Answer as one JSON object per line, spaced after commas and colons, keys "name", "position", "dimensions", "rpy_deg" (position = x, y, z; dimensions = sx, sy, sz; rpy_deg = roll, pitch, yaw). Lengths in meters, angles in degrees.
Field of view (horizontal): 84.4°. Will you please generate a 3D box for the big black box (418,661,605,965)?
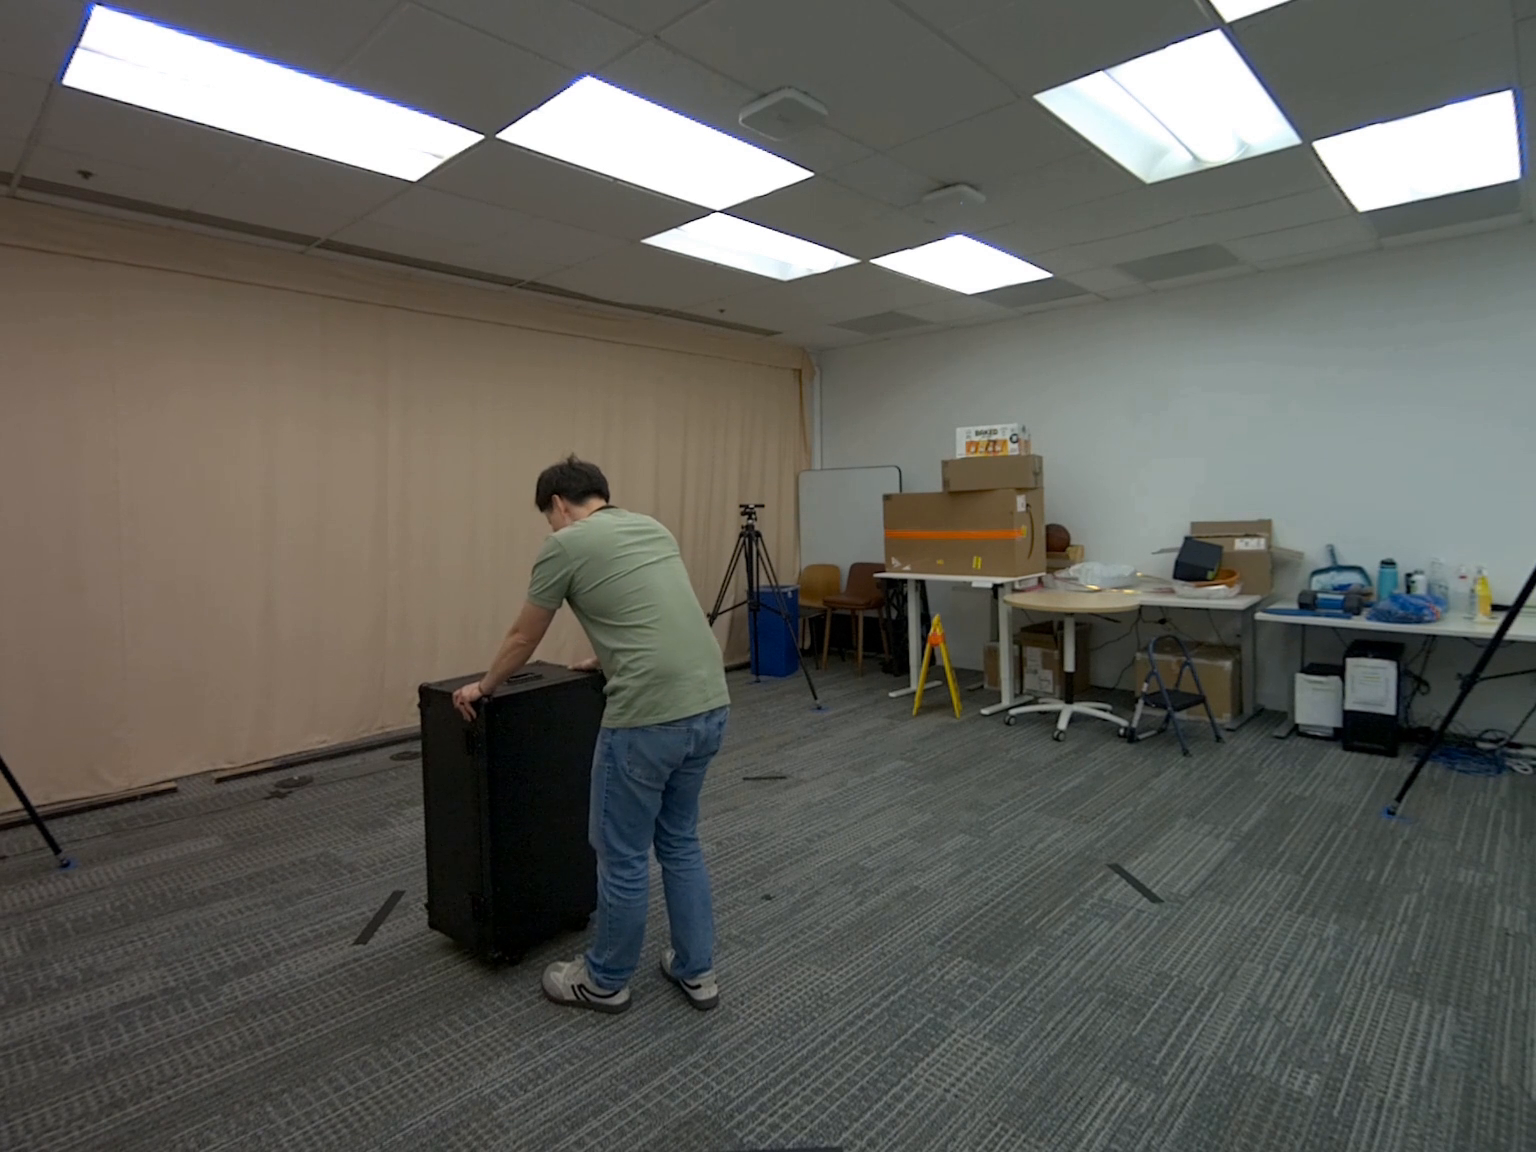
{"name": "big black box", "position": [-0.822, 0.756, 2.741], "dimensions": [0.409, 0.860, 0.506], "rpy_deg": [-1, 3, 38]}
